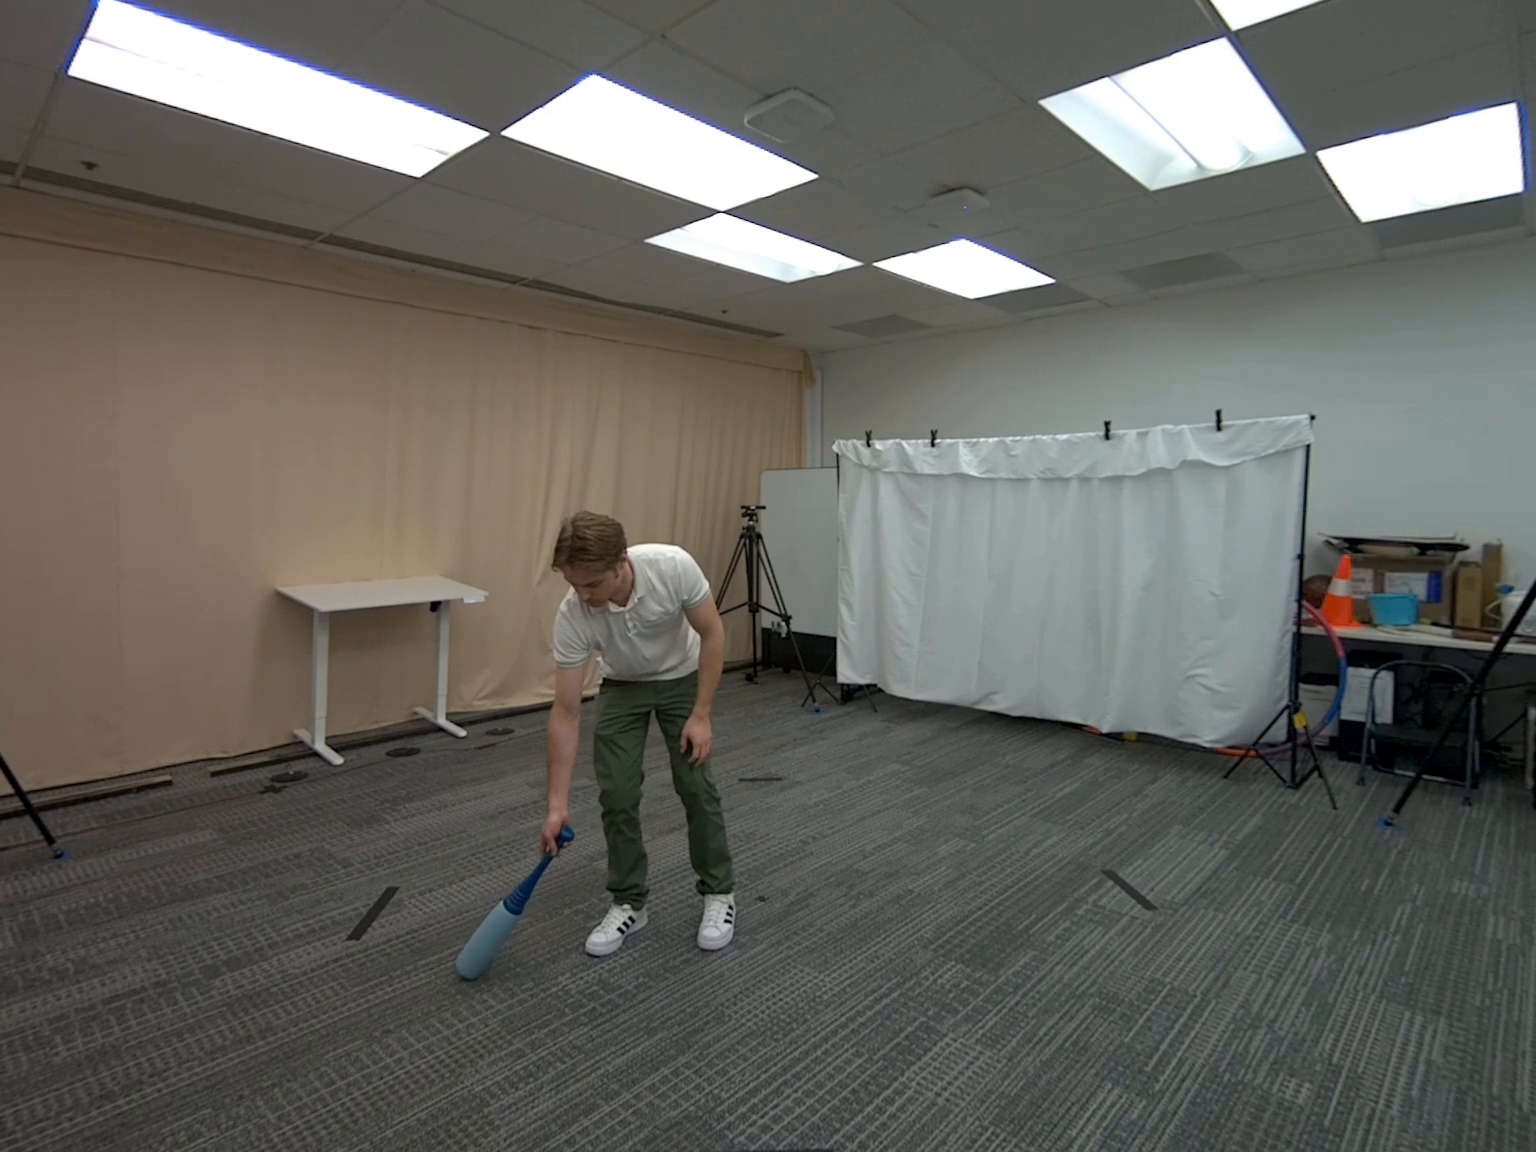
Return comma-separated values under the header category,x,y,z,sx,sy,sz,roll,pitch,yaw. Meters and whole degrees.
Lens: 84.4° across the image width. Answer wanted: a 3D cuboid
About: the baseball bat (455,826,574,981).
category,x,y,z,sx,sy,sz,roll,pitch,yaw
baseball bat,-0.739,0.962,2.467,0.088,0.543,0.089,36,6,-6
